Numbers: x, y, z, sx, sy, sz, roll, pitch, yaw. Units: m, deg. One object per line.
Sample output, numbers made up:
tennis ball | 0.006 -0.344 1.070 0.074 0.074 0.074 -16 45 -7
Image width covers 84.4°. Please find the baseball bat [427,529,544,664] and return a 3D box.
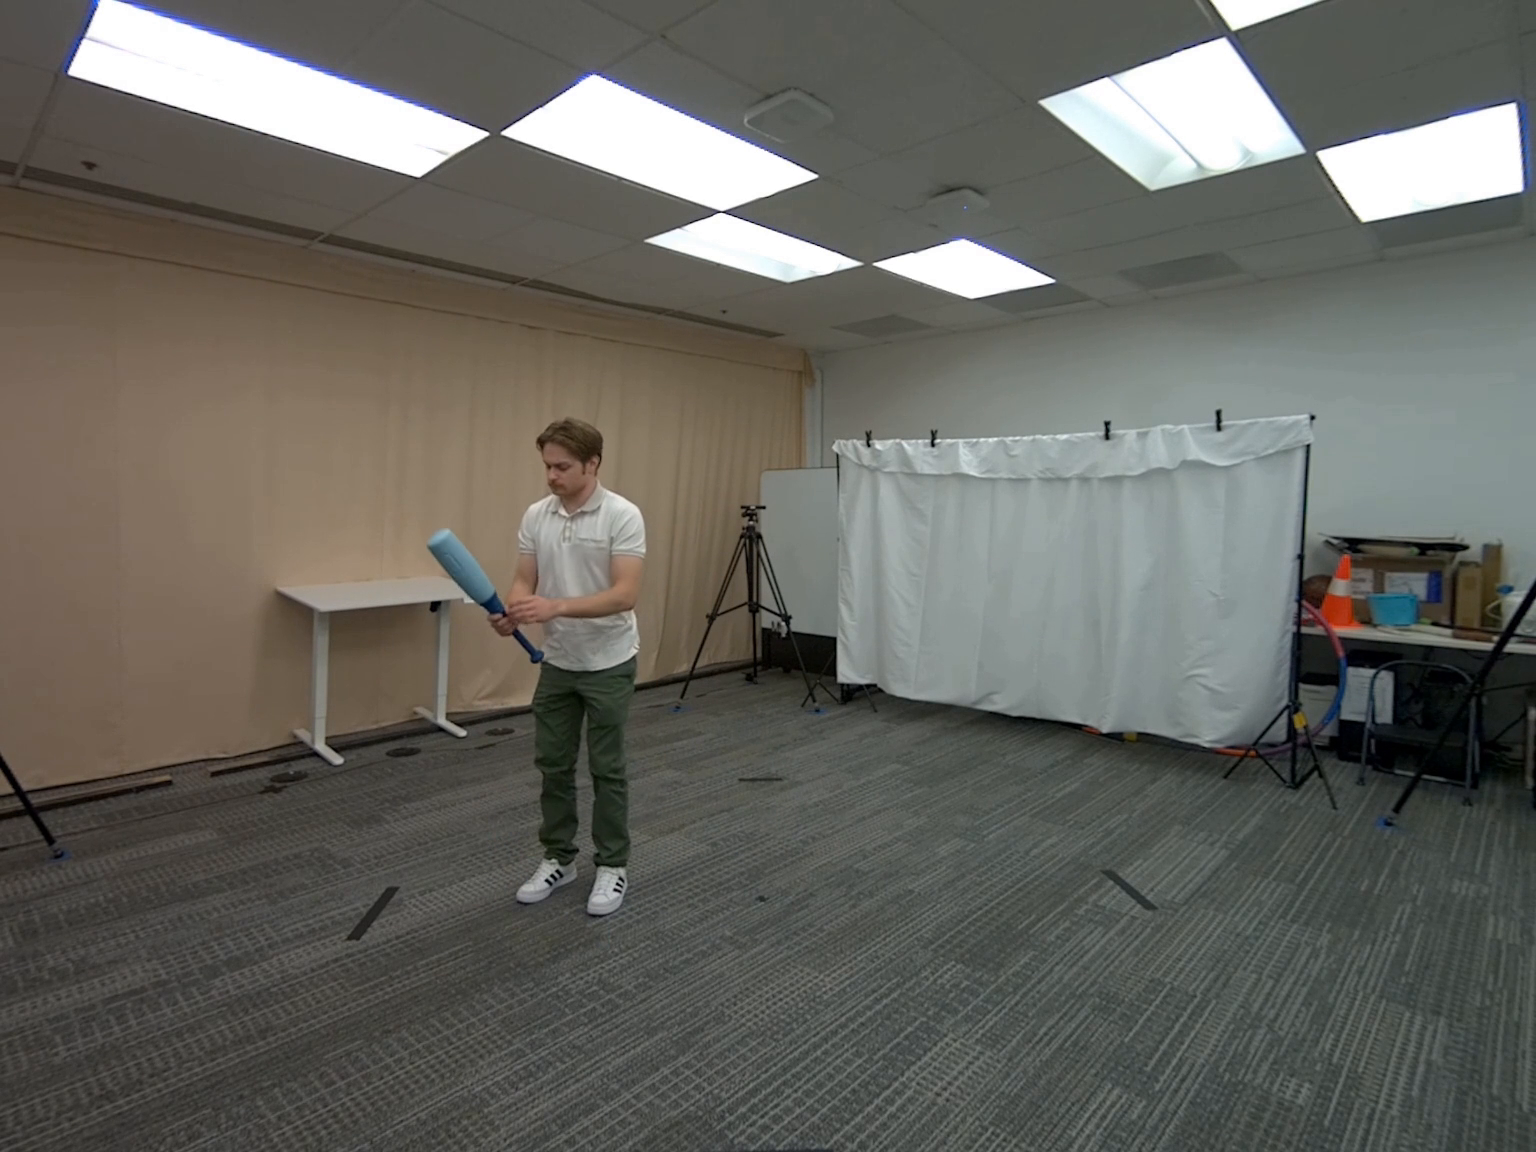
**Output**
baseball bat | -0.869 0.097 2.638 0.090 0.528 0.090 -23 30 13
